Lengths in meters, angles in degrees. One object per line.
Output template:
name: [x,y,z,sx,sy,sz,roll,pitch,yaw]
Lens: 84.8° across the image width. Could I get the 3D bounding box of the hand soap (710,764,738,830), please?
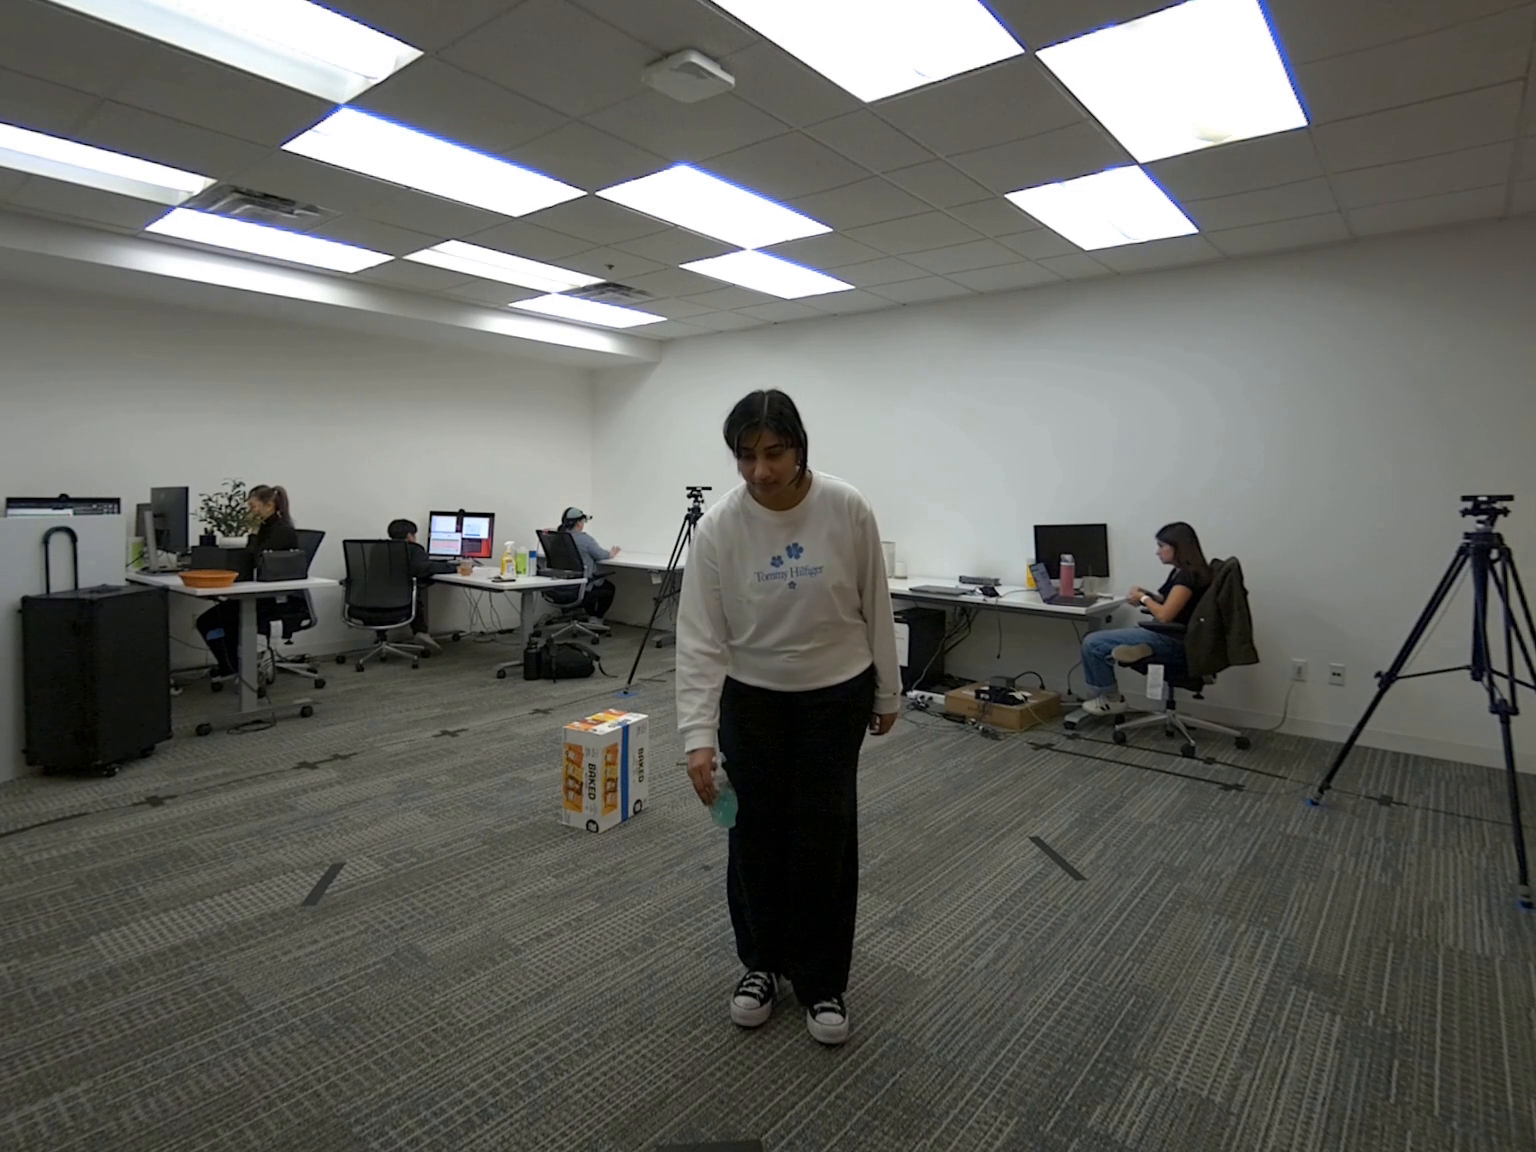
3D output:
hand soap: [-0.110,0.503,2.005,0.087,0.167,0.042,5,11,36]
